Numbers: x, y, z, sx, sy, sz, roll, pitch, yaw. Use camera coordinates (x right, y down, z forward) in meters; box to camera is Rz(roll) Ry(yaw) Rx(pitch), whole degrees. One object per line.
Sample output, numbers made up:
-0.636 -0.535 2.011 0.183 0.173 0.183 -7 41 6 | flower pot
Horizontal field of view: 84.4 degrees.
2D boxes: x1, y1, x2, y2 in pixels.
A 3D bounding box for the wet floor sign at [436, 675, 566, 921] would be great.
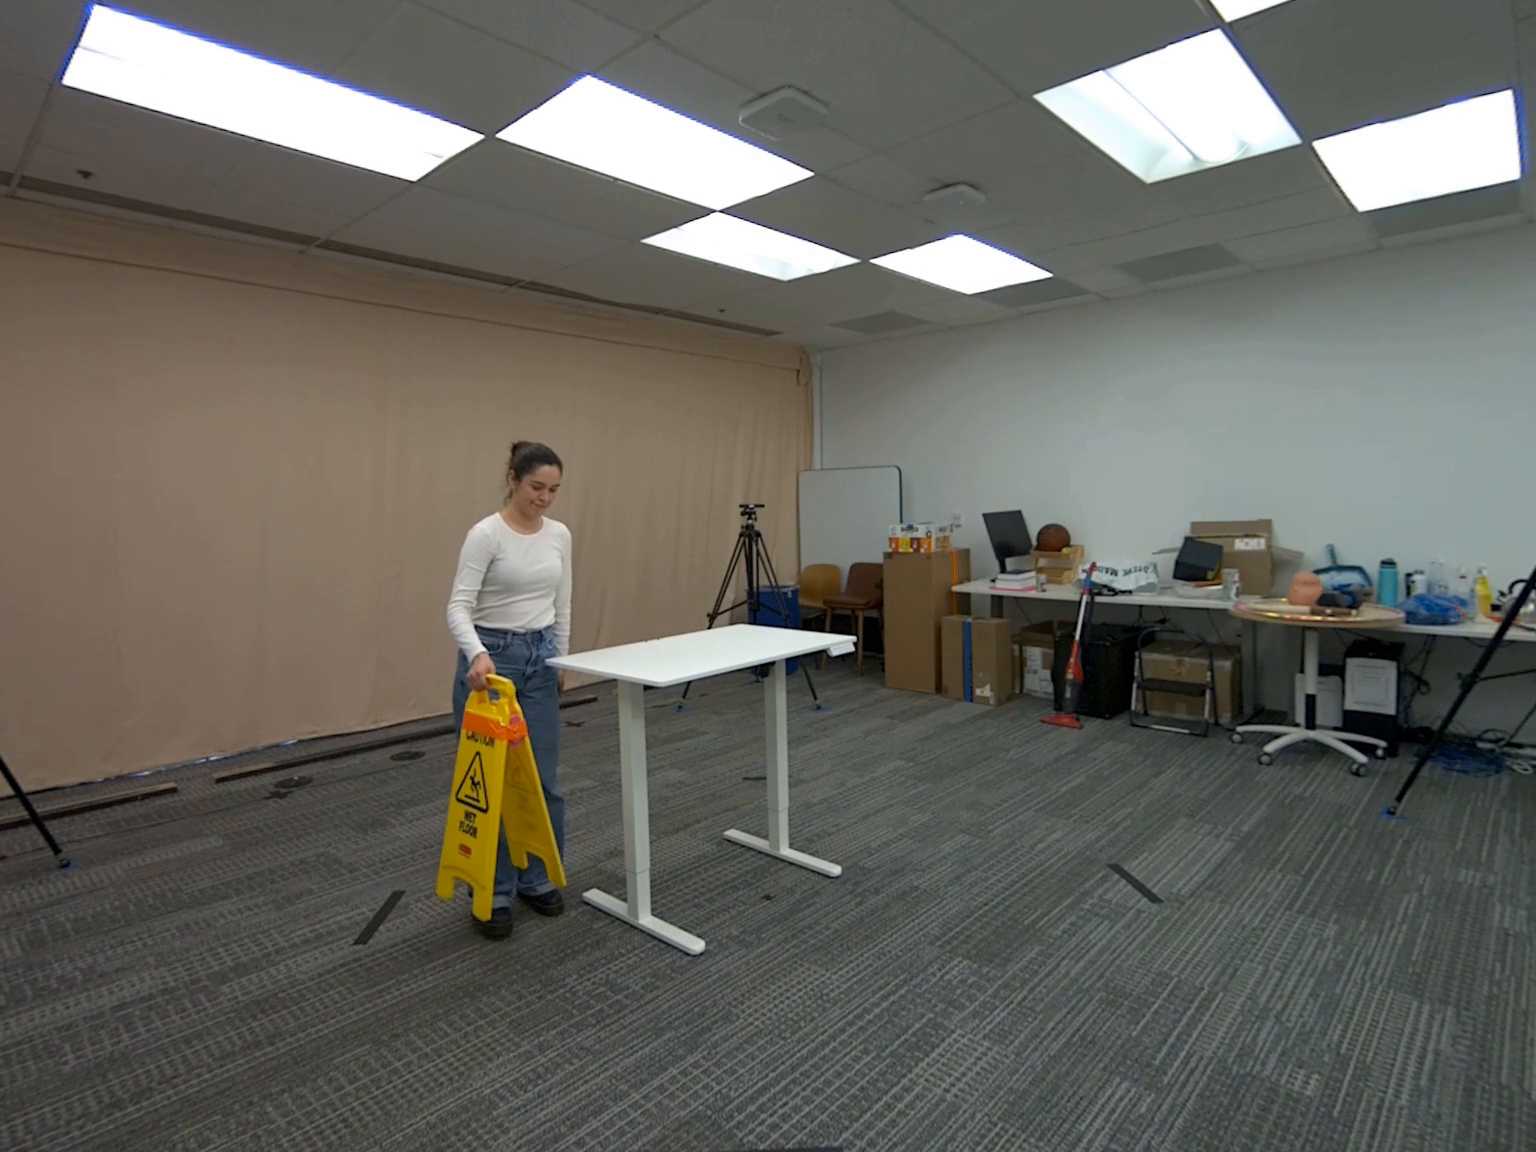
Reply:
-0.803 0.622 2.481 0.291 0.645 0.281 0 4 41 | wet floor sign
